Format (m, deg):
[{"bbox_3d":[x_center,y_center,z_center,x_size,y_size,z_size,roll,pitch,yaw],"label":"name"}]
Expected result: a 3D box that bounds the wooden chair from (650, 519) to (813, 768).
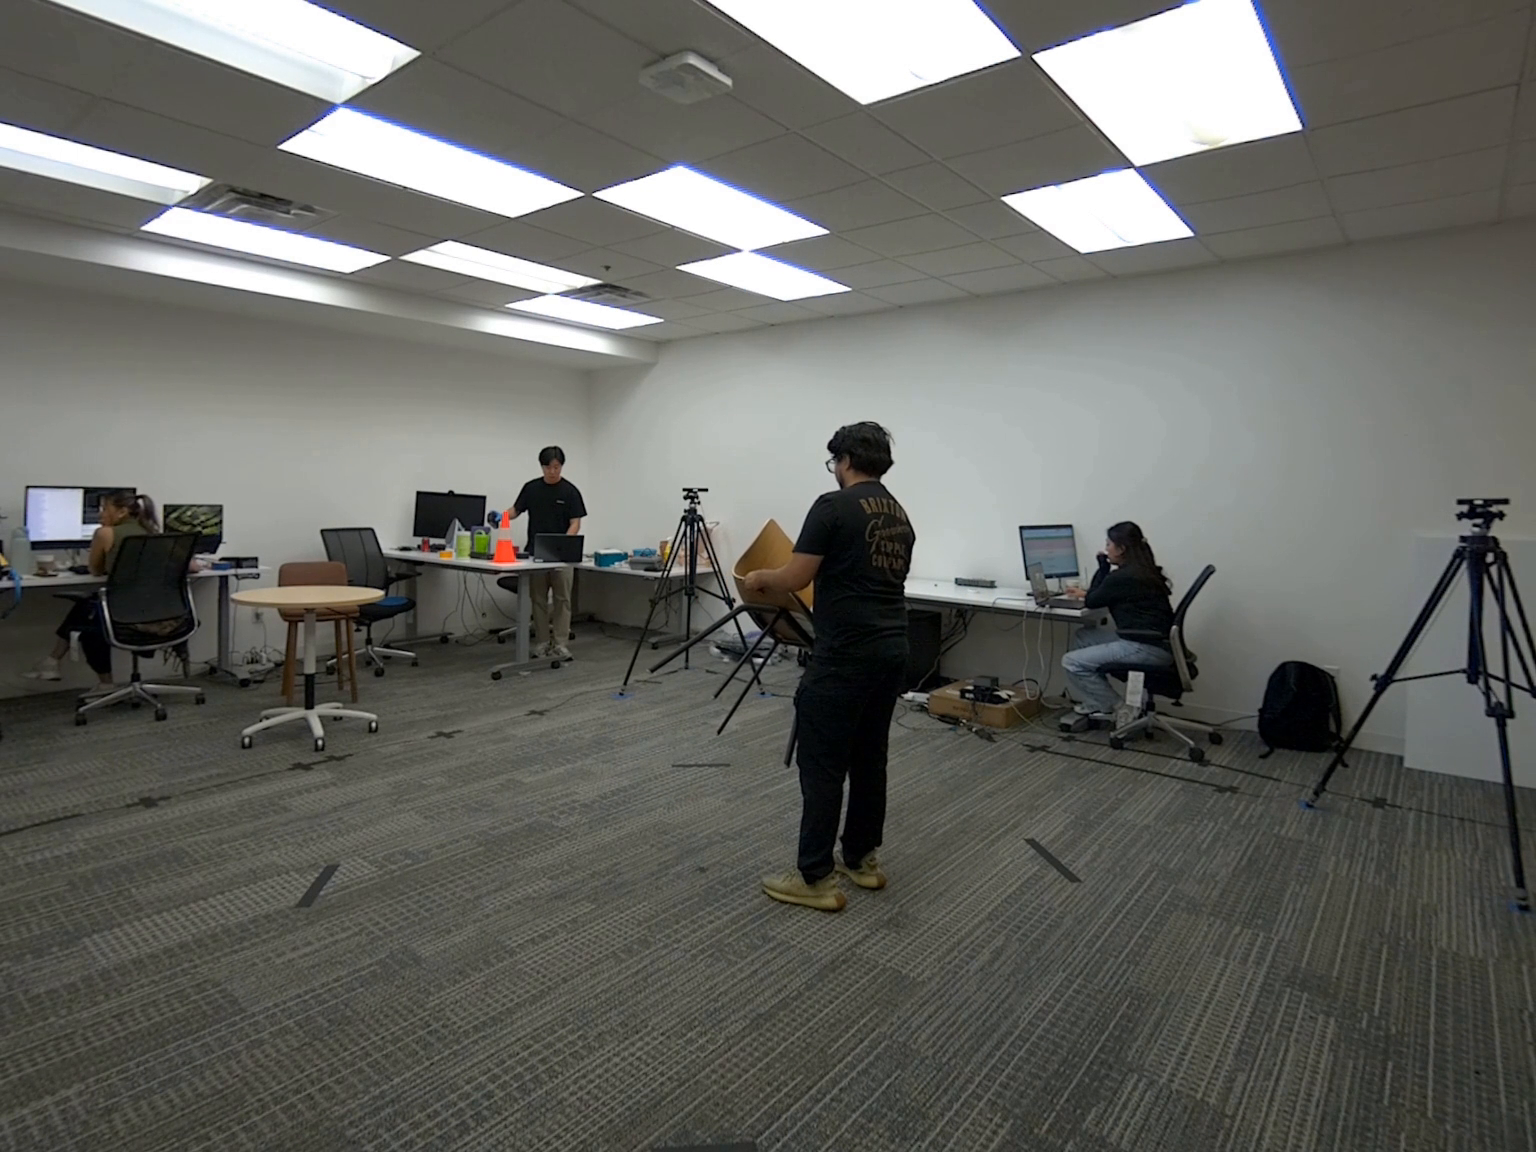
[{"bbox_3d":[0.036,0.199,3.284,0.540,0.881,0.461,2,-38,50],"label":"wooden chair"}]
